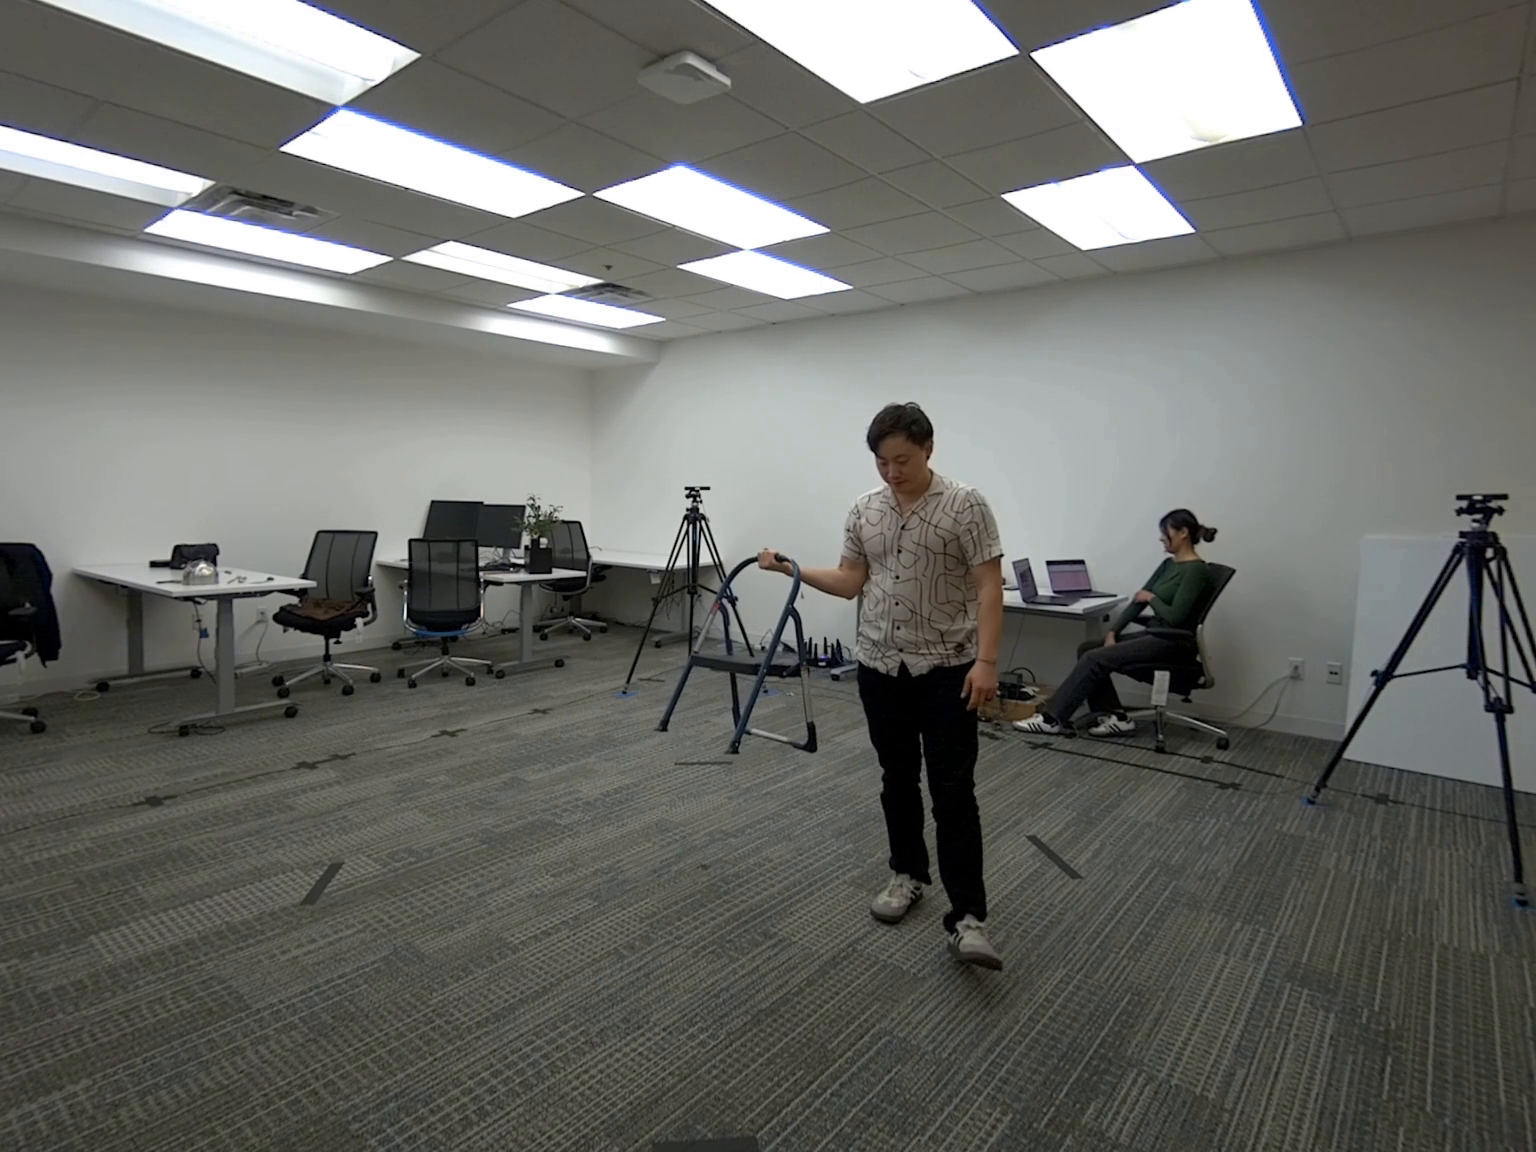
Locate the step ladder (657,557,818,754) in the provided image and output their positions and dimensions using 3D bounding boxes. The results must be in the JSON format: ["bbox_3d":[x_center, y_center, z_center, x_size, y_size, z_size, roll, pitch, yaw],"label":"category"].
[{"bbox_3d":[-0.078,0.229,2.746,0.338,0.608,0.443,8,-5,-36],"label":"step ladder"}]
